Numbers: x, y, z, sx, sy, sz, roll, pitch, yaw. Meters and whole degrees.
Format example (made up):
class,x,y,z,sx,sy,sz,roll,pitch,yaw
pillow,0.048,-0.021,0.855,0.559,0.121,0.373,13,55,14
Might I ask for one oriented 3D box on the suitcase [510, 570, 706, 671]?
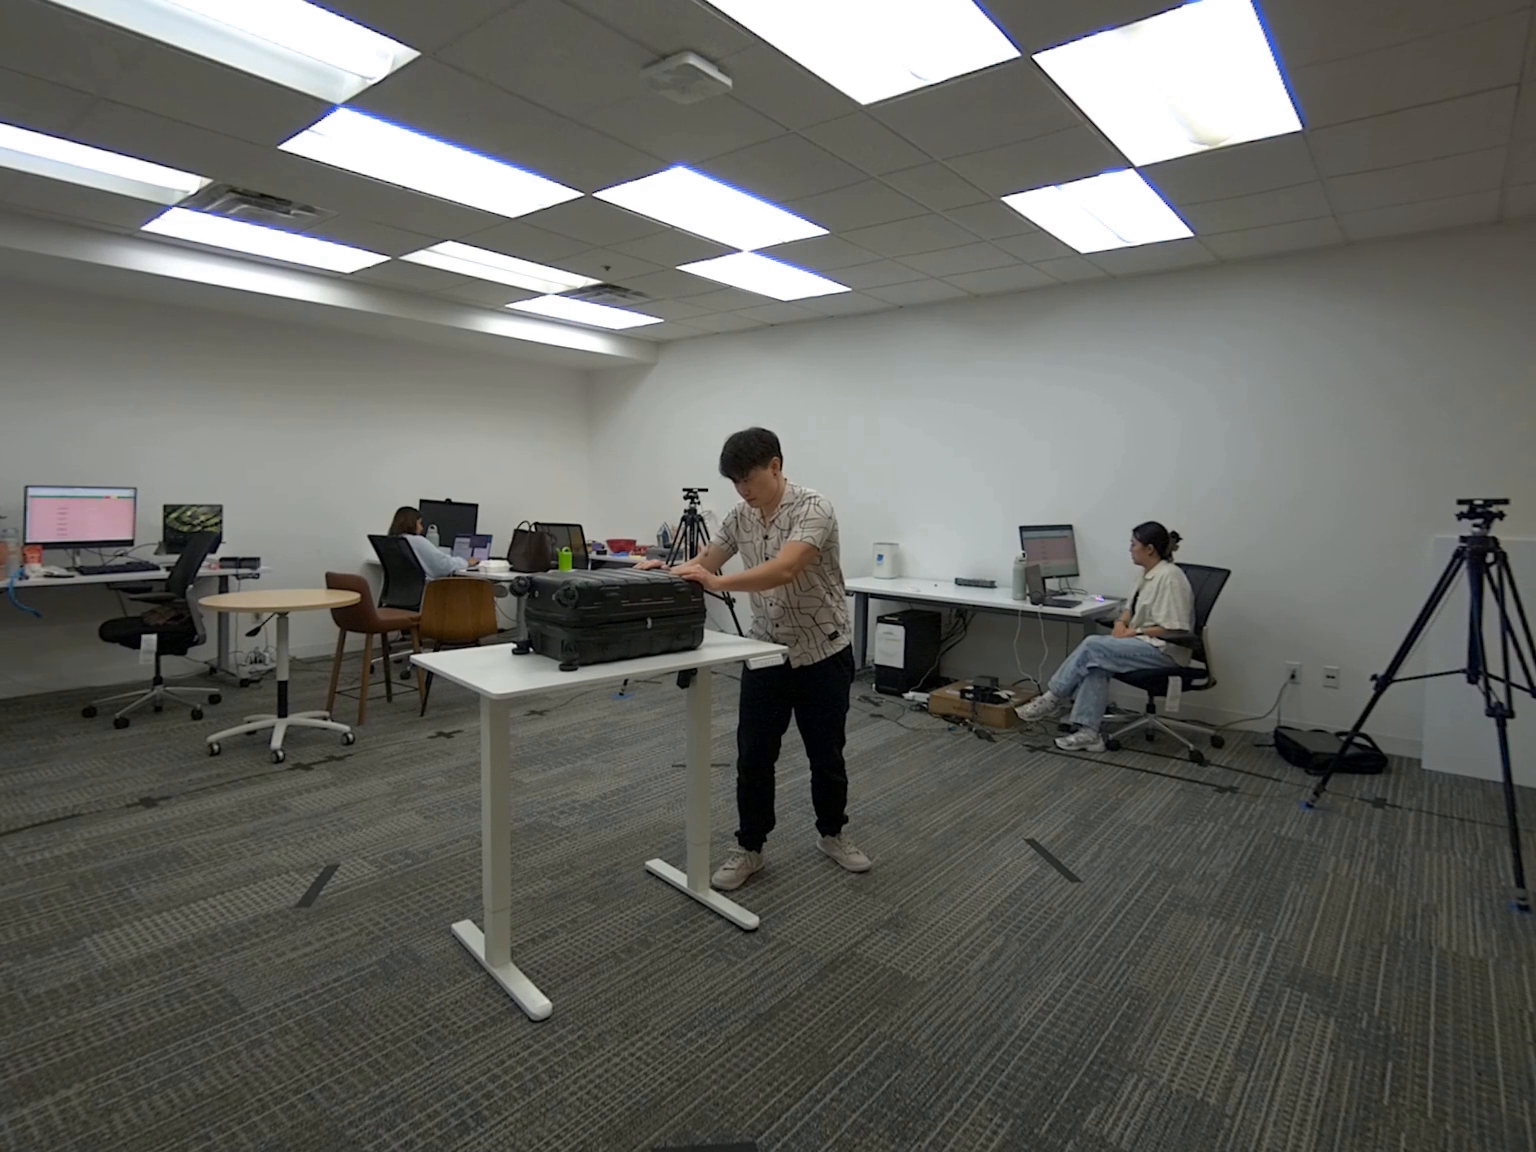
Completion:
class,x,y,z,sx,sy,sz,roll,pitch,yaw
suitcase,-0.492,0.112,2.643,0.533,0.247,0.388,-4,5,-42
